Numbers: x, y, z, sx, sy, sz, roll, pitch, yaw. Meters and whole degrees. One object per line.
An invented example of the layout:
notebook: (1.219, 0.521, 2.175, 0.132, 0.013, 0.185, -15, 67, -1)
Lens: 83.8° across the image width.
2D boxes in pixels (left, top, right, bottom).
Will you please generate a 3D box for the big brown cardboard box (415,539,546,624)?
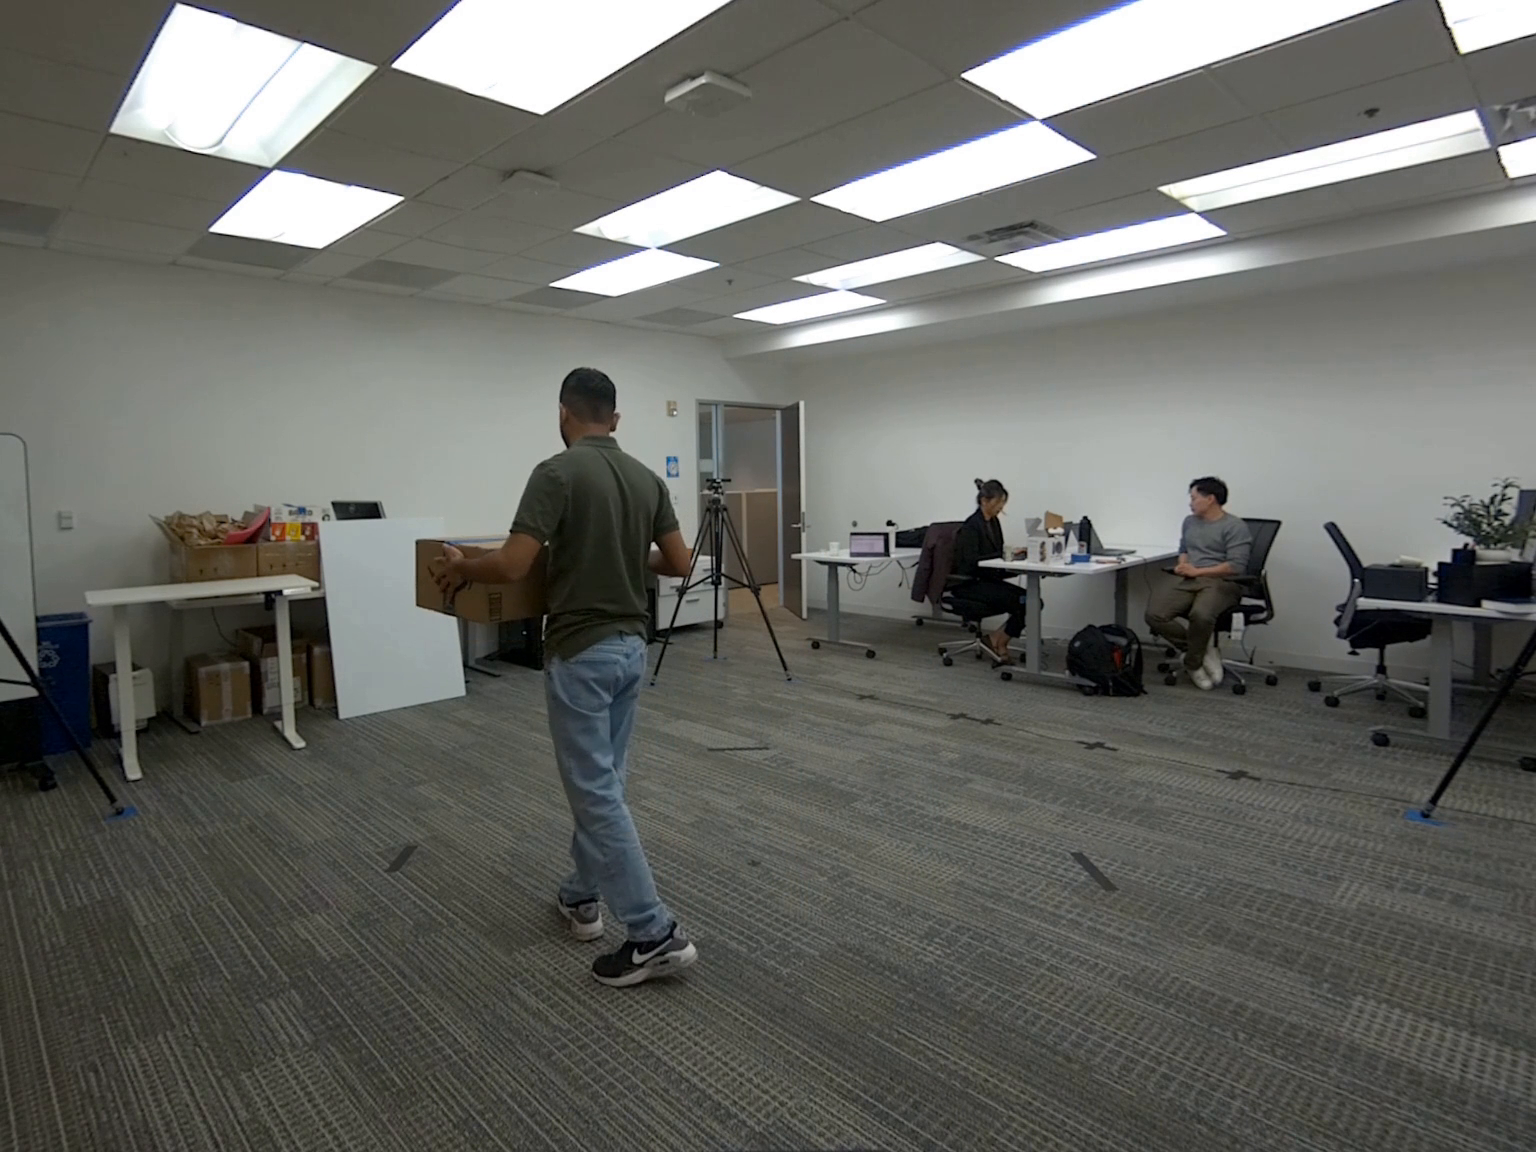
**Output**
big brown cardboard box: (-0.757, -0.015, 2.743, 0.431, 0.232, 0.574, 6, 10, 41)
